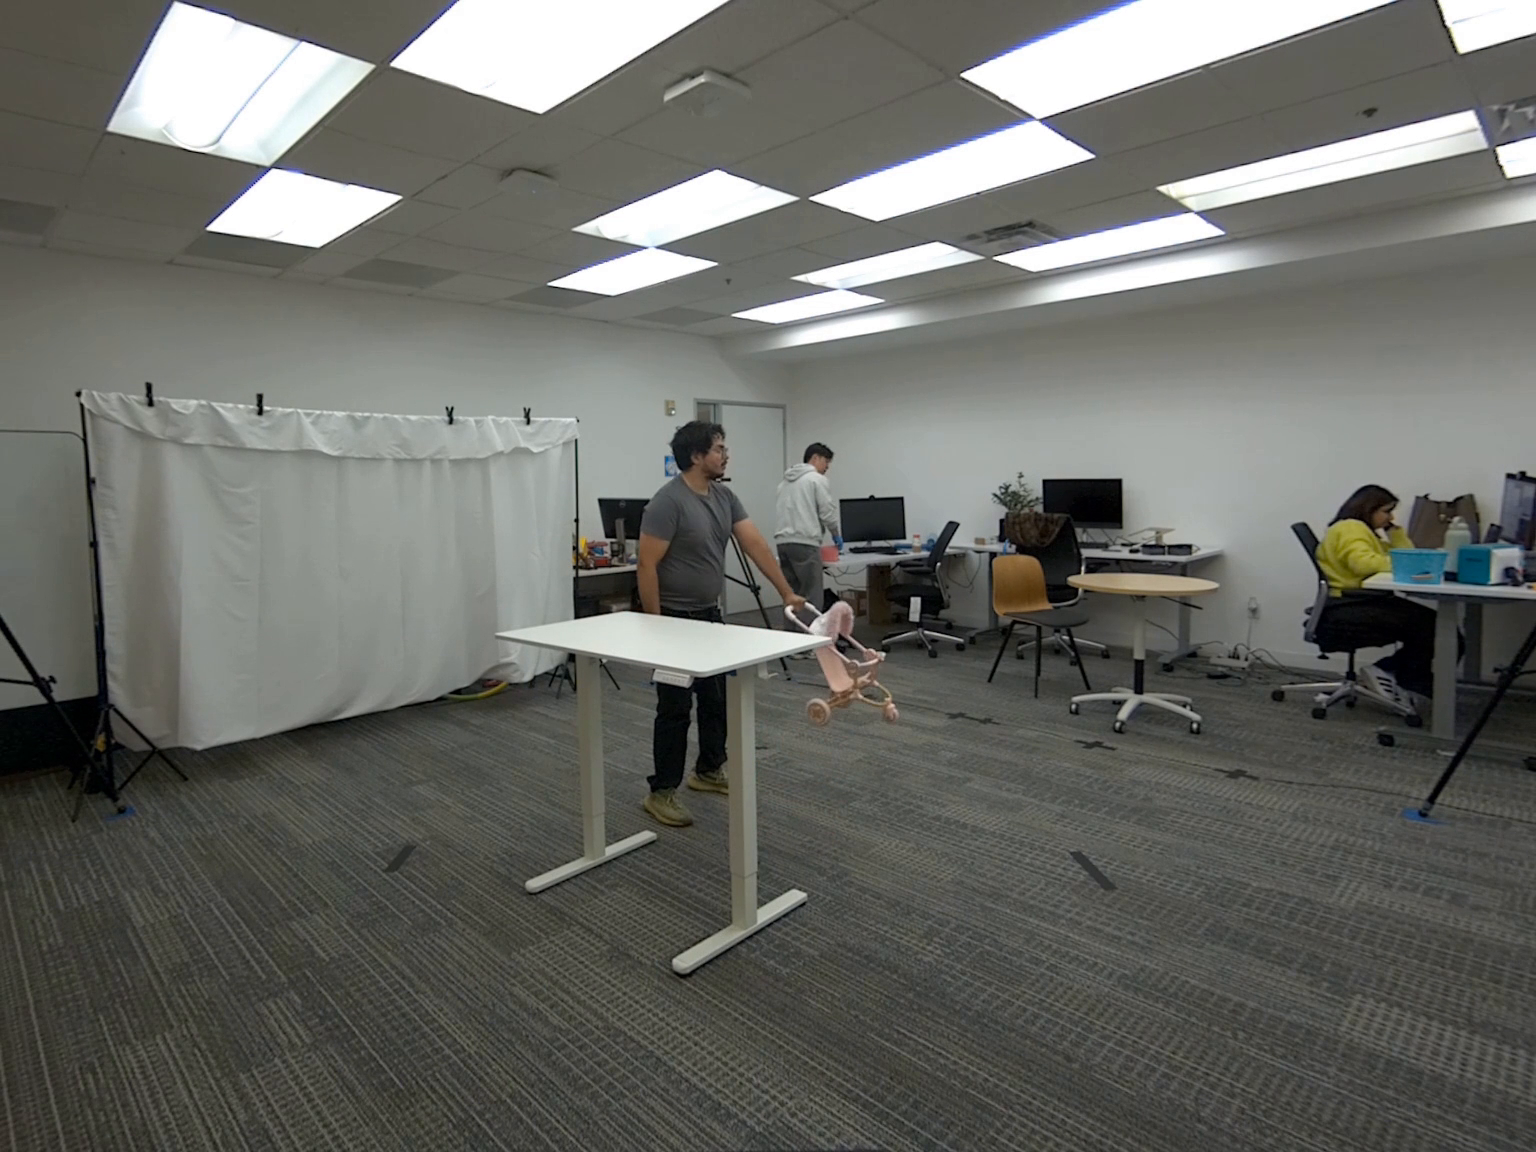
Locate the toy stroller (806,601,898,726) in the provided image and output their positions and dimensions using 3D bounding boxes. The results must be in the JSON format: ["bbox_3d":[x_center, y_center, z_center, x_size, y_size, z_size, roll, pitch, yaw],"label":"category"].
[{"bbox_3d":[0.301,0.346,3.382,0.347,0.536,0.276,-17,-1,33],"label":"toy stroller"}]
